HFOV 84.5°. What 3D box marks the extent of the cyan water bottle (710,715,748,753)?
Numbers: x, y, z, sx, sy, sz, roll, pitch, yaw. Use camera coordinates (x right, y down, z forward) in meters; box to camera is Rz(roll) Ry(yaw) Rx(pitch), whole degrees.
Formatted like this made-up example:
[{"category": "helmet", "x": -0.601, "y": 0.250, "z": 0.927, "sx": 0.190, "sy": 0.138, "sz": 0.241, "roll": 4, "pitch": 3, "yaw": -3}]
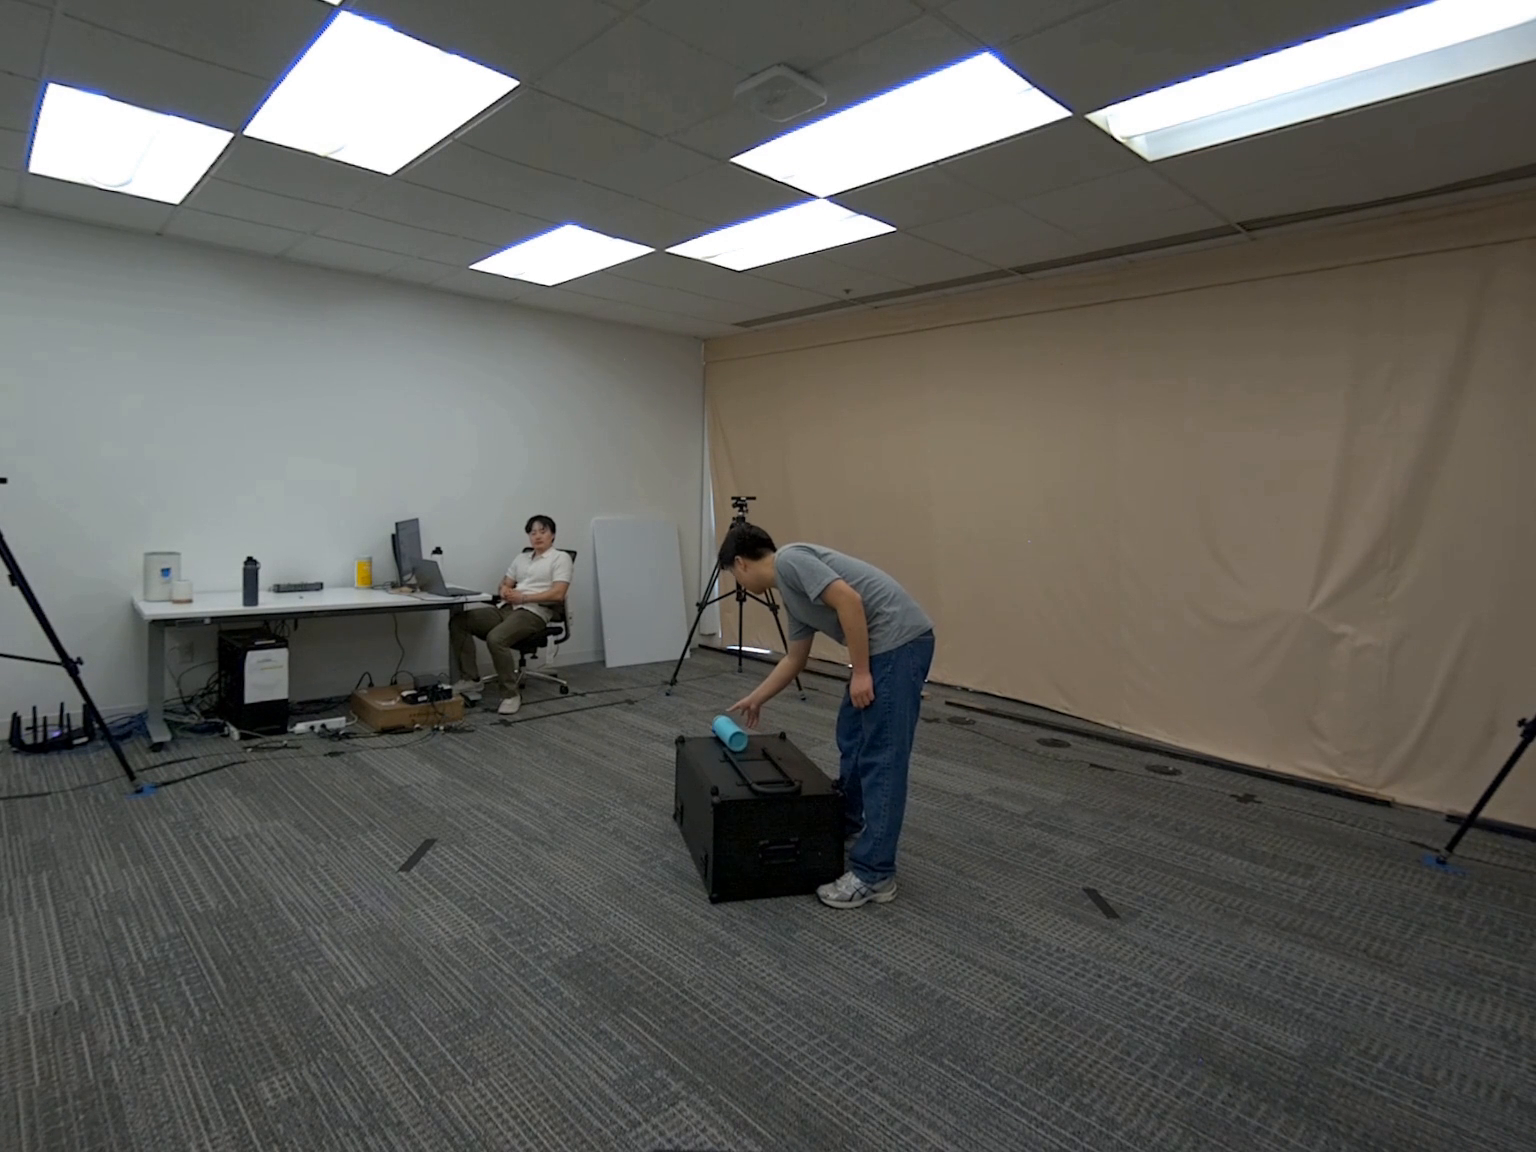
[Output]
[{"category": "cyan water bottle", "x": -0.173, "y": 0.651, "z": 3.559, "sx": 0.091, "sy": 0.092, "sz": 0.288, "roll": 0, "pitch": 6, "yaw": -20}]
